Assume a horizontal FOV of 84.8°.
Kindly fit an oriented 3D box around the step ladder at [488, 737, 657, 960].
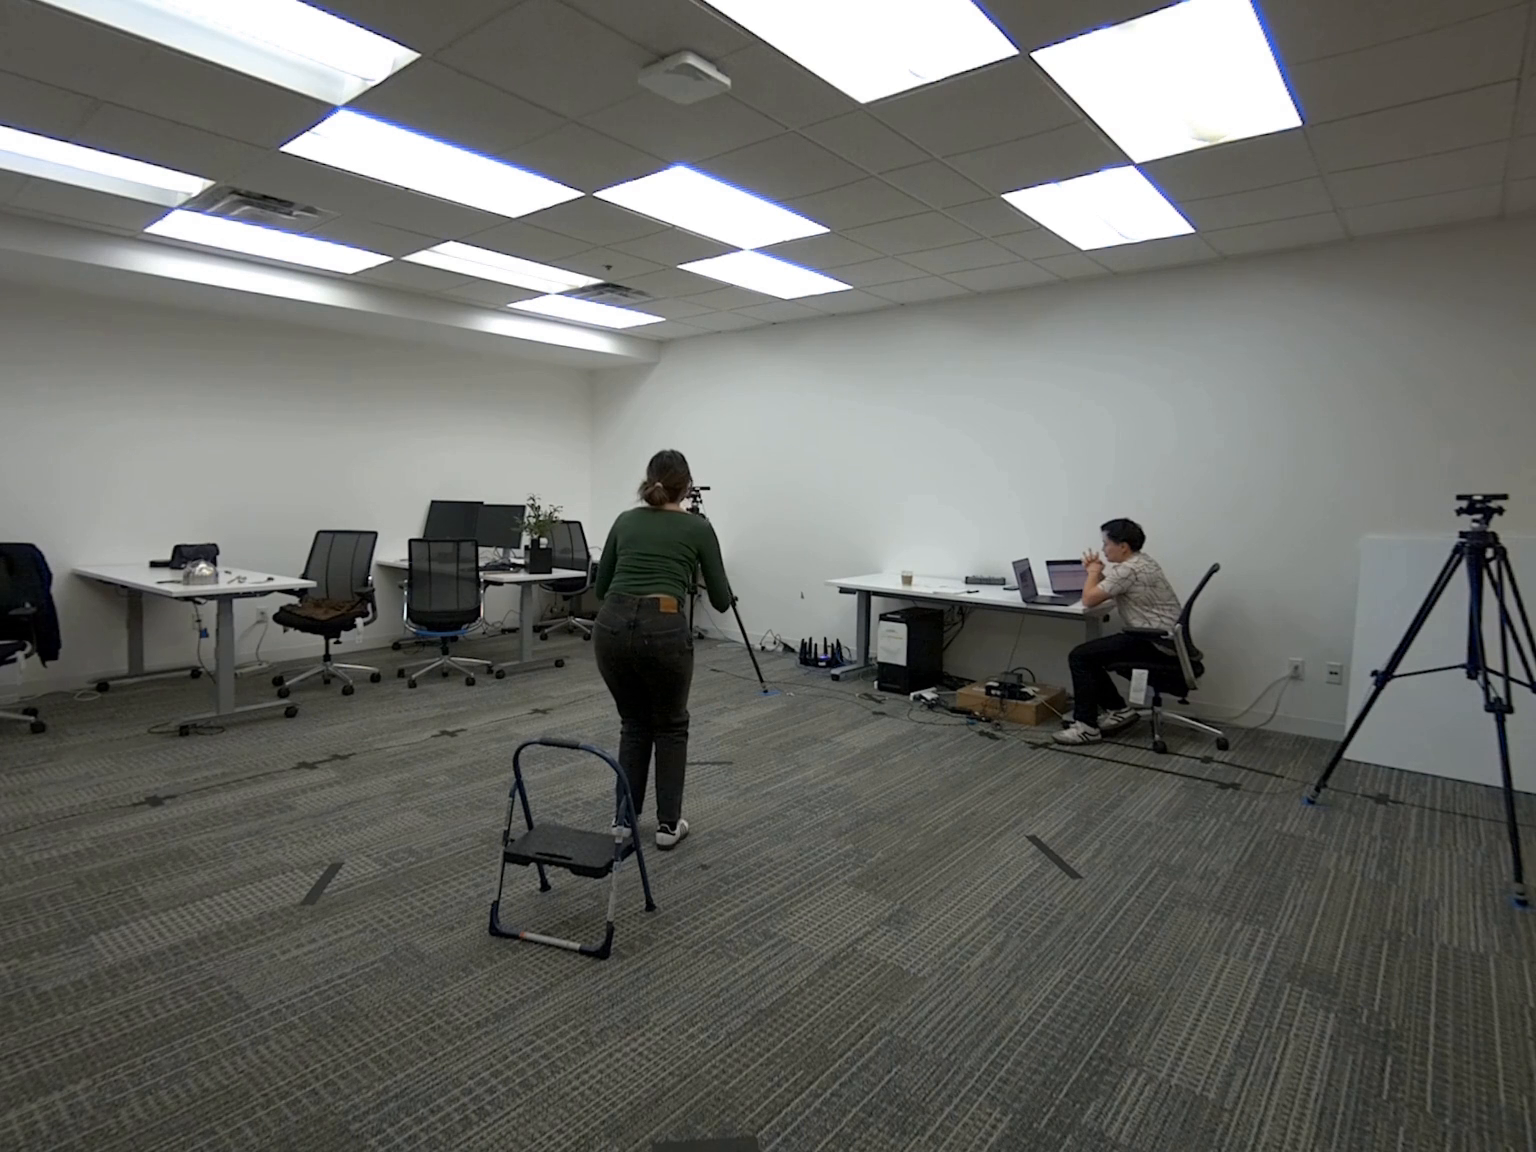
[{"bbox_3d":[-0.632,0.796,2.699,0.439,0.604,0.344,1,4,18],"label":"step ladder"}]
